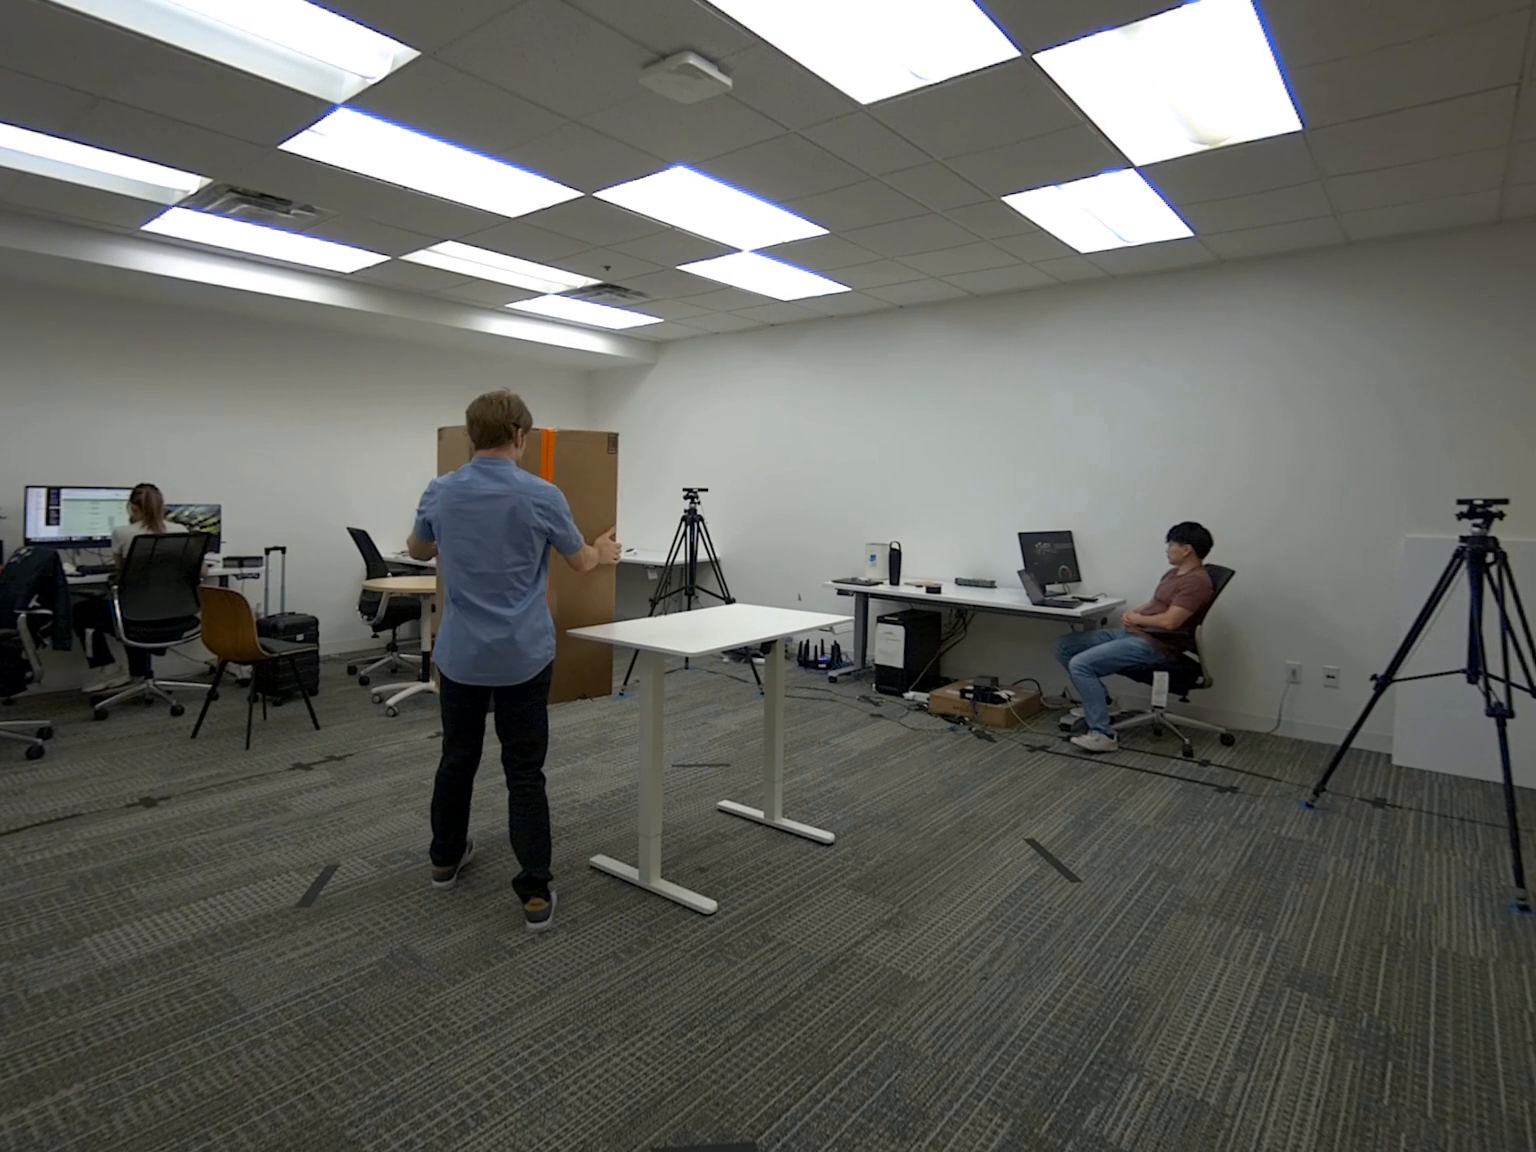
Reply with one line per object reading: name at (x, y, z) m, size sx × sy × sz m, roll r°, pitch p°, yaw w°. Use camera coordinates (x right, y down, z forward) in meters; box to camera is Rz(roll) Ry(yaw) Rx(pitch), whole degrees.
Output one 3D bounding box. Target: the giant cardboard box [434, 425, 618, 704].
giant cardboard box at (-0.949, -0.055, 3.280) m, size 0.561 × 1.021 × 0.440 m, roll -2°, pitch 6°, yaw -34°
